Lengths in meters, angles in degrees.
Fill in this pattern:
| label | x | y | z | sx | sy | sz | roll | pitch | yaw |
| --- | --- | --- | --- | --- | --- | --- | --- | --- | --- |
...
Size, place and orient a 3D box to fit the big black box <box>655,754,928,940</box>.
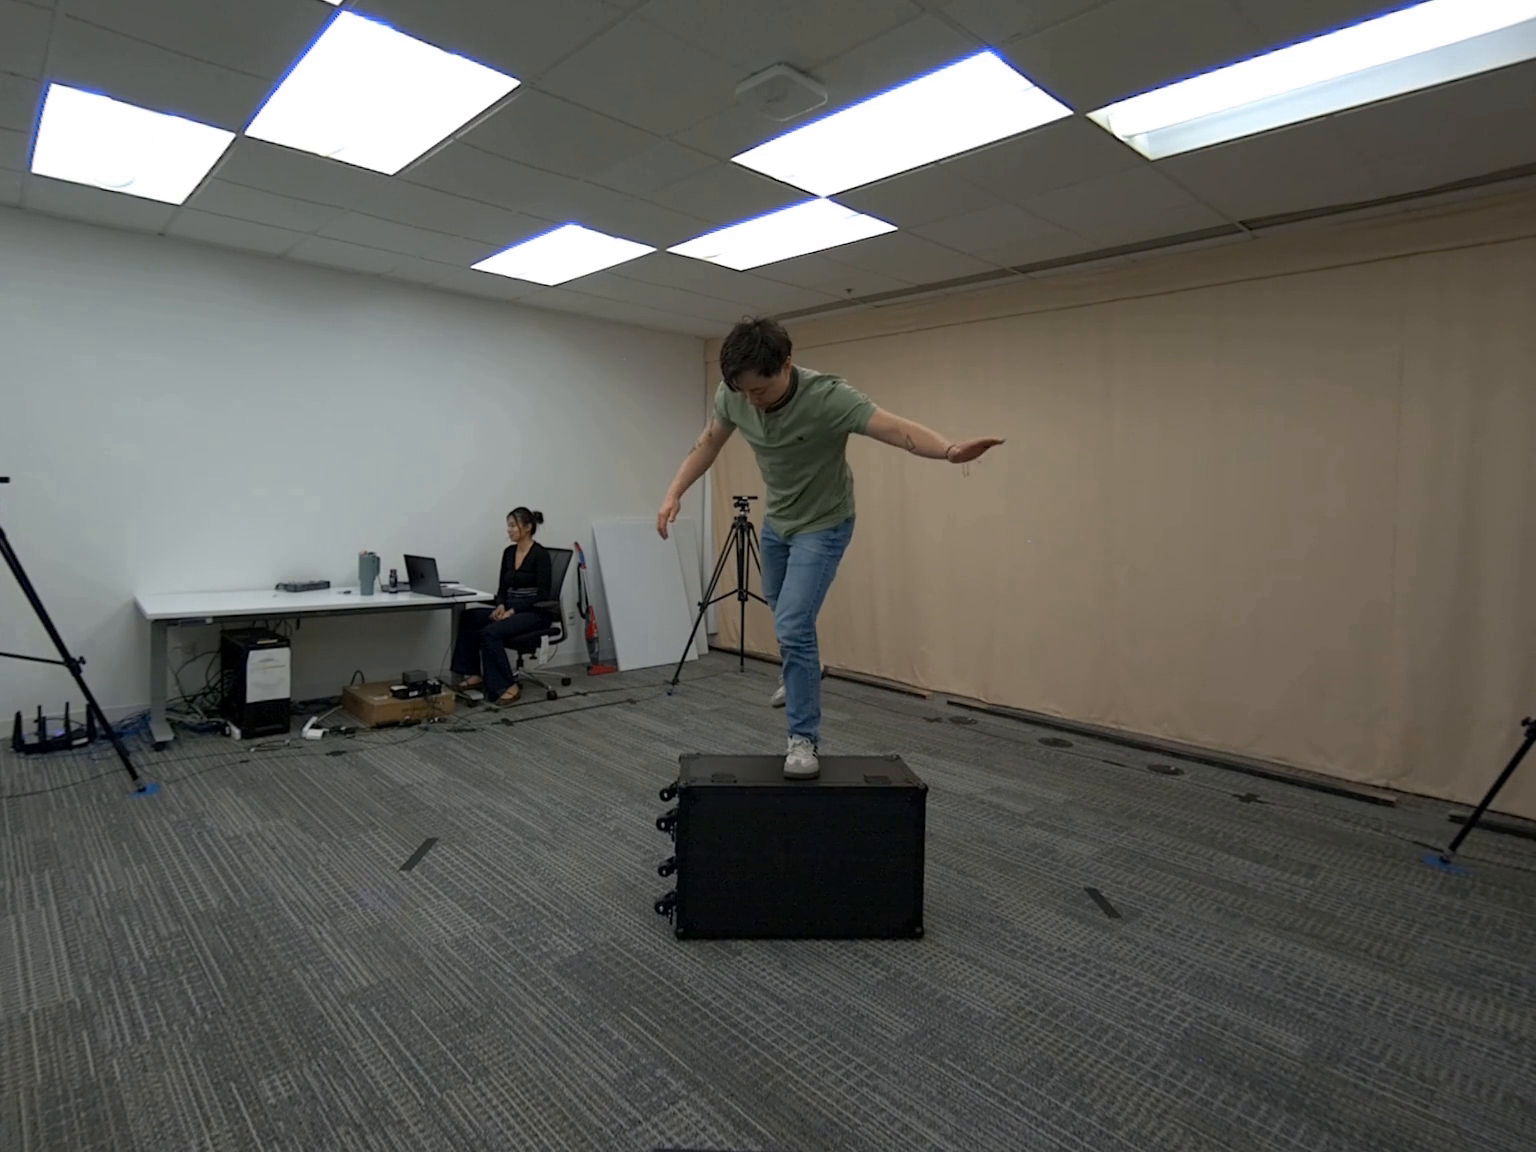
| label | x | y | z | sx | sy | sz | roll | pitch | yaw |
| --- | --- | --- | --- | --- | --- | --- | --- | --- | --- |
| big black box | 0.055 | 0.881 | 2.823 | 0.859 | 0.520 | 0.398 | 1 | 2 | -4 |
